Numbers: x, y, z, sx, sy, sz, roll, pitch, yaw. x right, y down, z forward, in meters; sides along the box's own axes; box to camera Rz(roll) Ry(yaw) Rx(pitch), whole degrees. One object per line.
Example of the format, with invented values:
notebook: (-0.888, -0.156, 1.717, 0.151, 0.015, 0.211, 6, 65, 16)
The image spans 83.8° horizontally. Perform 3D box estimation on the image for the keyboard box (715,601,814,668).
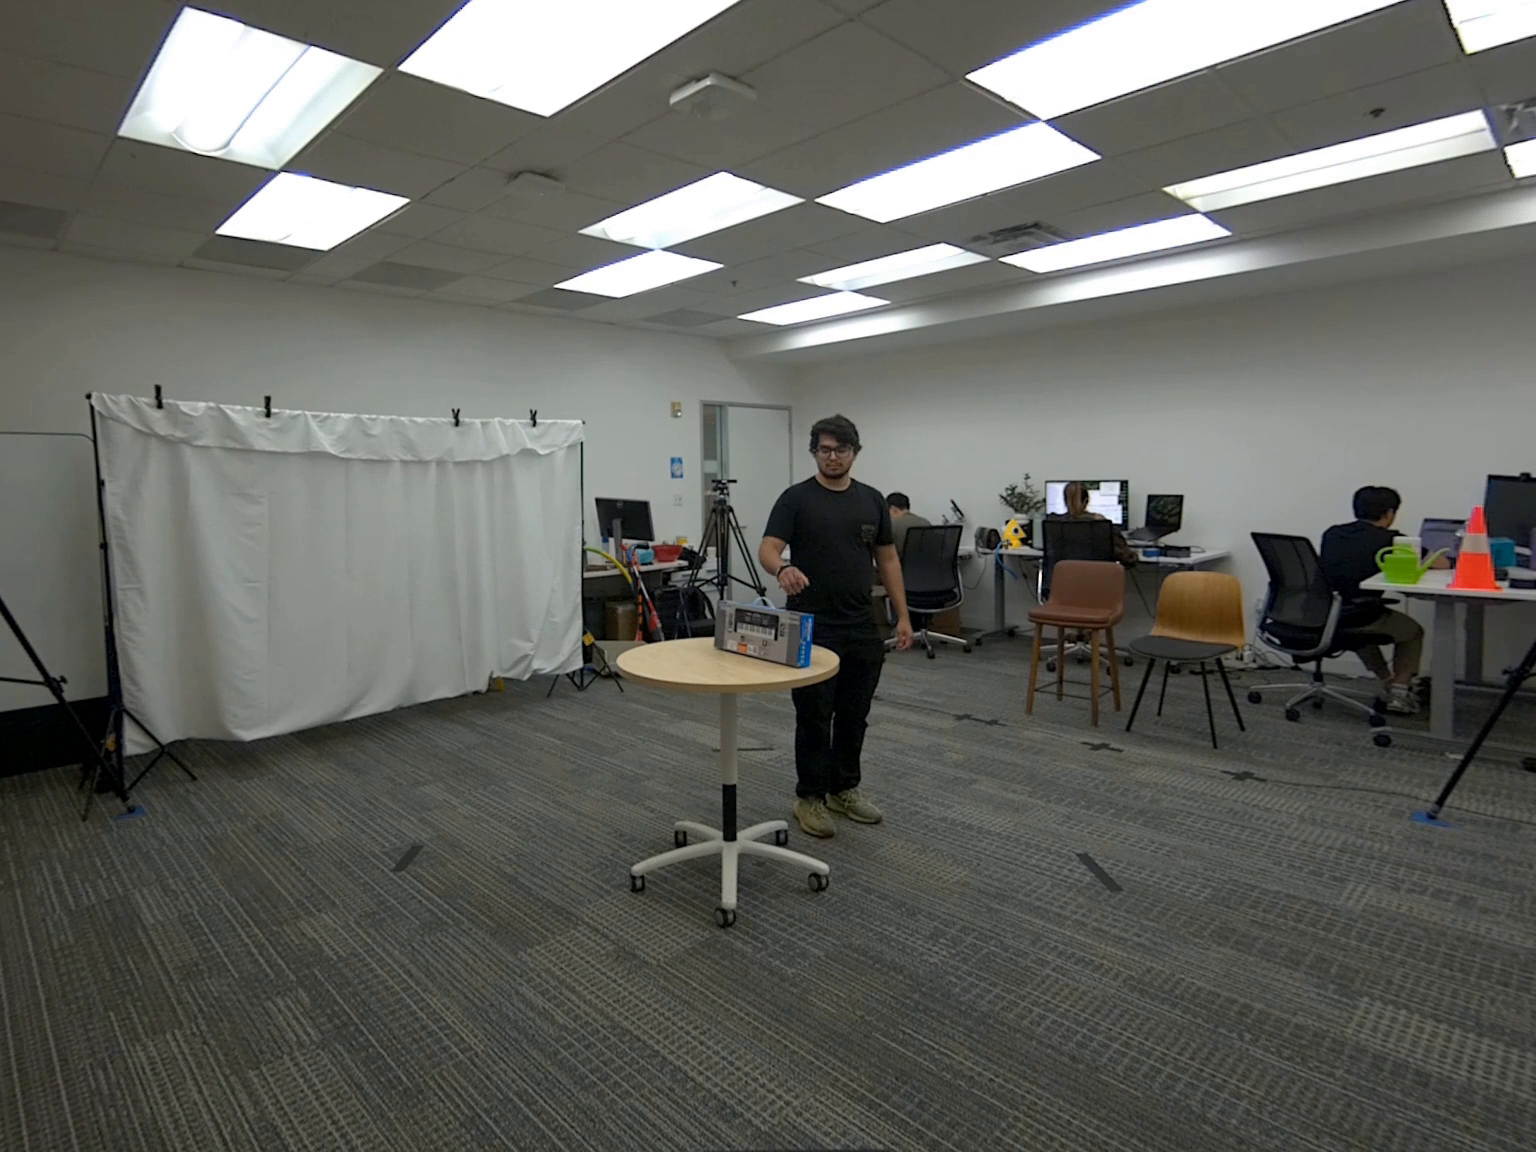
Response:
keyboard box: (-0.021, 0.196, 2.950, 0.057, 0.176, 0.450, 3, 2, -41)
